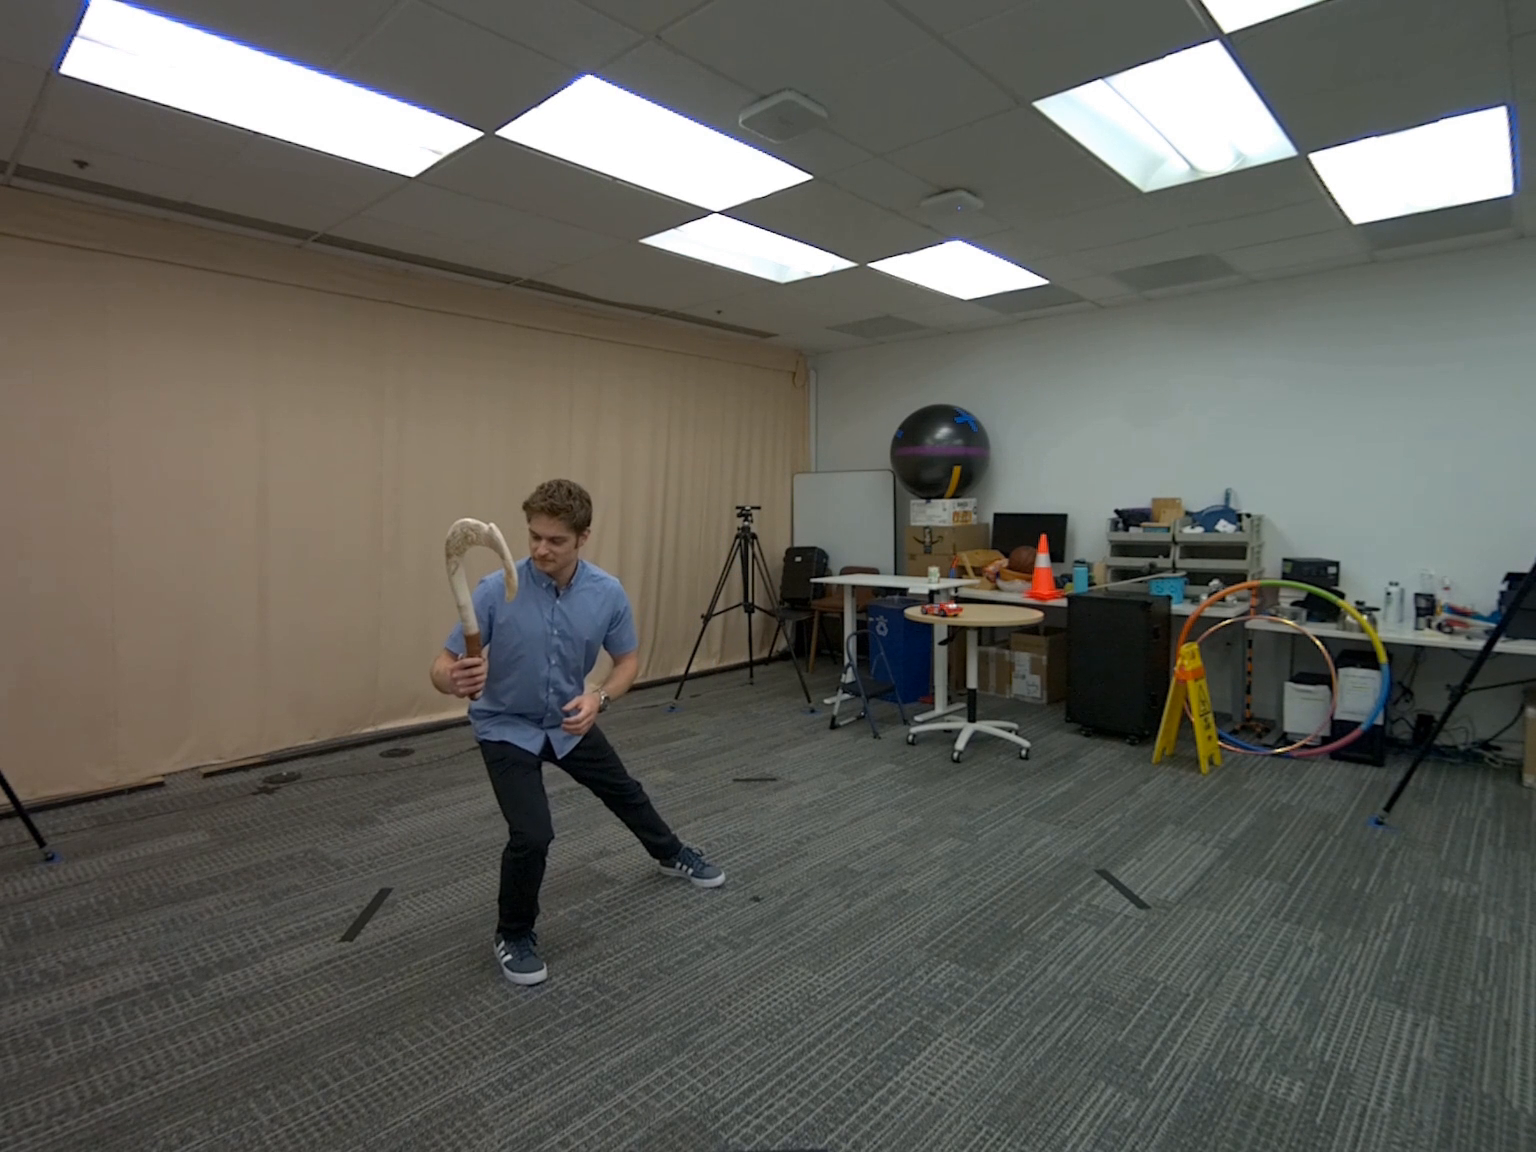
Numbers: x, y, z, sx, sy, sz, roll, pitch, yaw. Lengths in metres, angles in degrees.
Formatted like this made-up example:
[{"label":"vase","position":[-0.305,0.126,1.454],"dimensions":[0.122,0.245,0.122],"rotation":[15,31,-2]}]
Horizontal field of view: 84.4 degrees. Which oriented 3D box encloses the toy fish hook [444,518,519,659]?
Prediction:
[{"label":"toy fish hook","position":[-0.718,0.102,2.132],"dimensions":[0.231,0.501,0.047],"rotation":[15,23,28]}]
